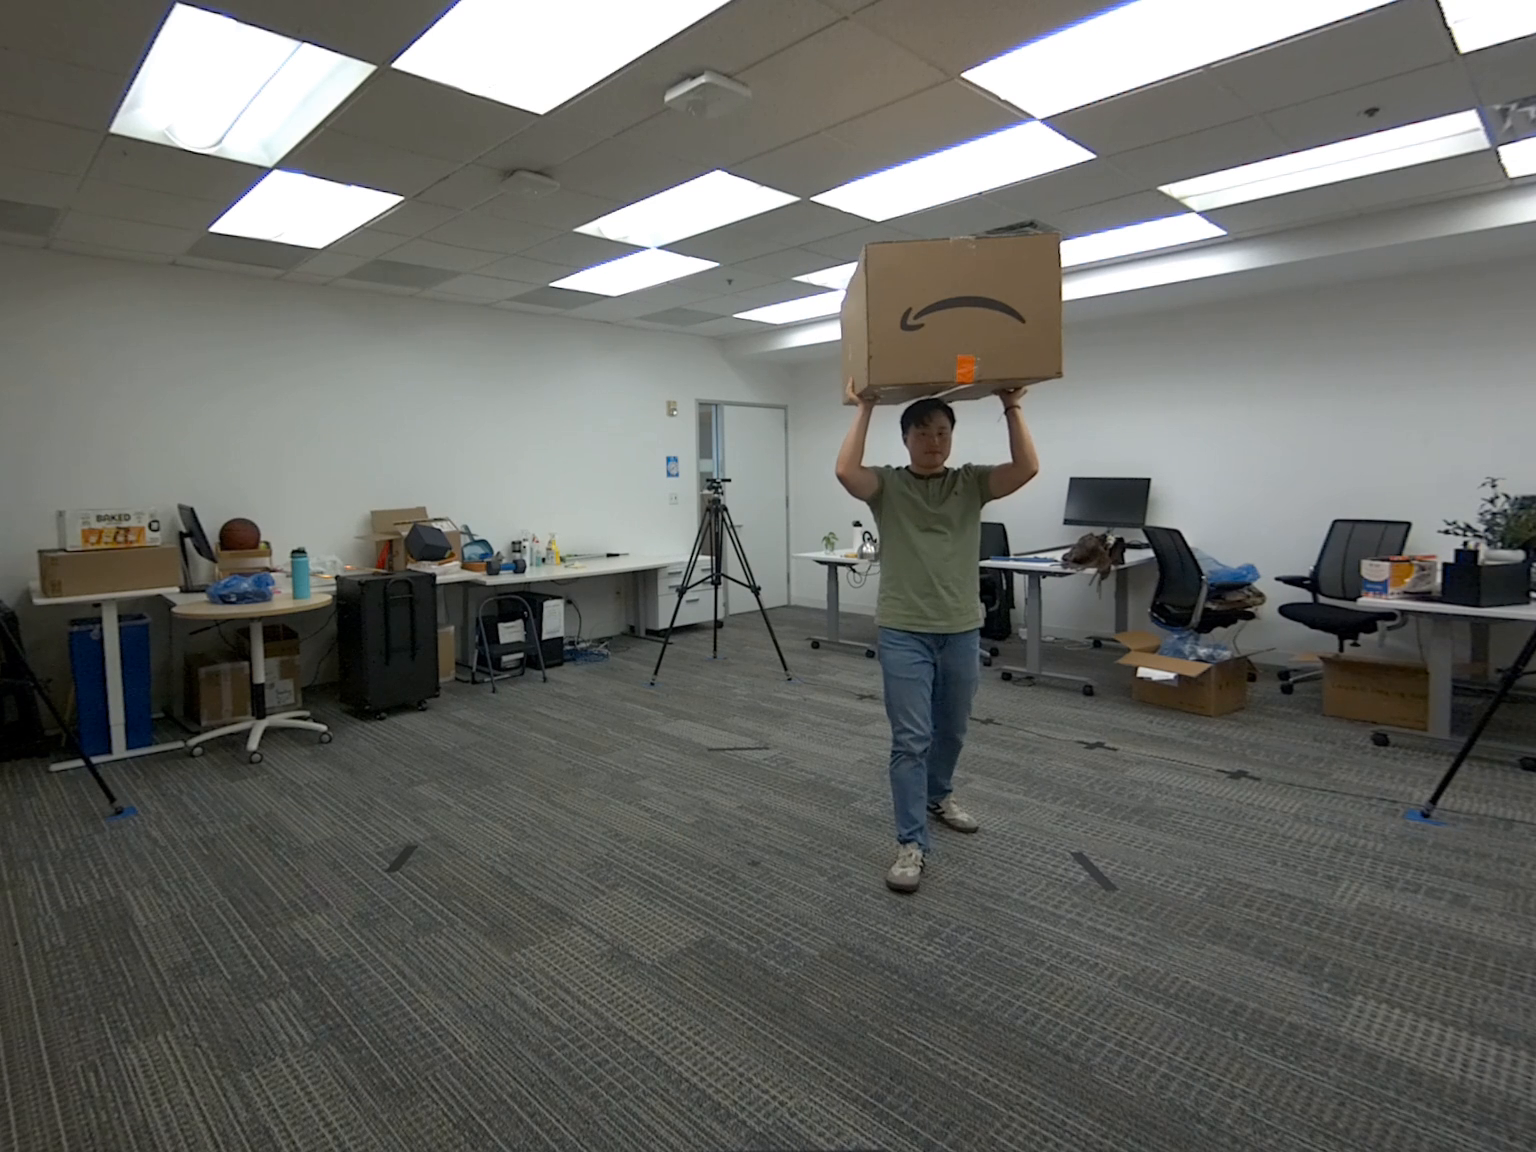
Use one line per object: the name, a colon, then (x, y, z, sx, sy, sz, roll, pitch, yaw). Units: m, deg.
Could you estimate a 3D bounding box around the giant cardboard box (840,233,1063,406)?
giant cardboard box: (0.590, -0.864, 3.036, 0.579, 0.423, 1.030, -2, 8, 2)
